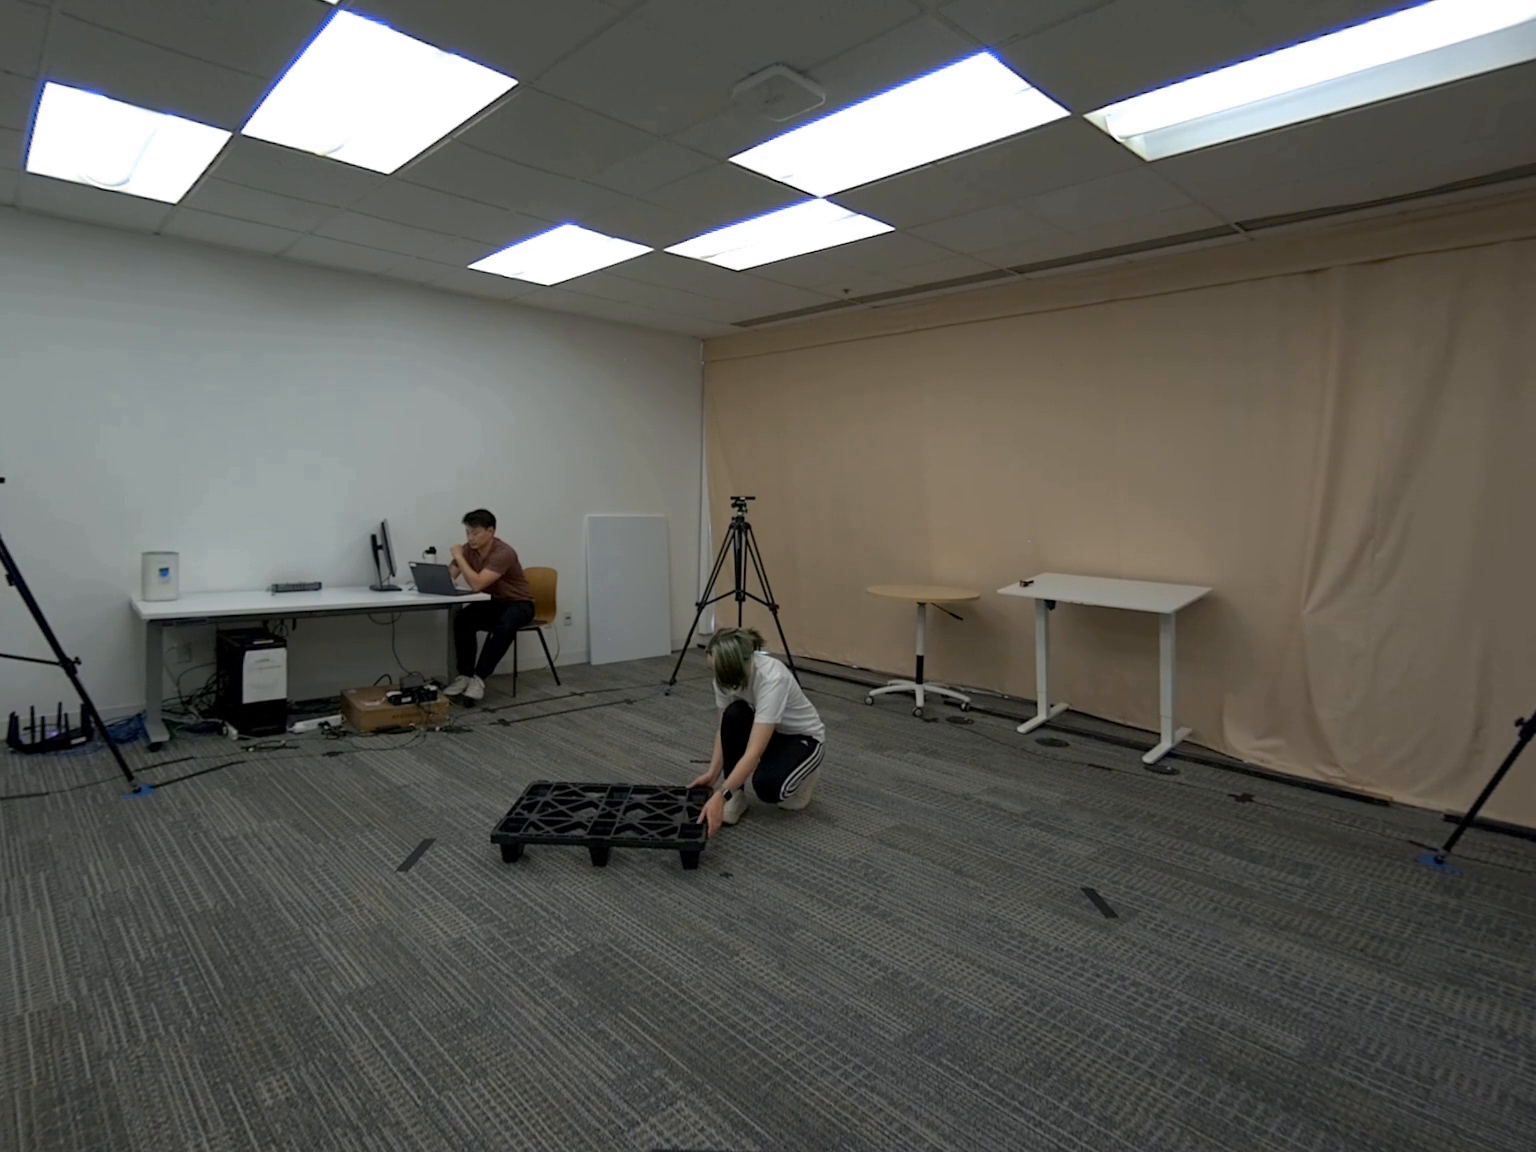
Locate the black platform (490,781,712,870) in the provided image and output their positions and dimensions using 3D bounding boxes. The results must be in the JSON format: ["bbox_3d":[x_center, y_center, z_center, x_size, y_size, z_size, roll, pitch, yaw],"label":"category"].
[{"bbox_3d":[-0.639,1.001,3.381,0.806,0.143,0.606,1,6,1],"label":"black platform"}]
